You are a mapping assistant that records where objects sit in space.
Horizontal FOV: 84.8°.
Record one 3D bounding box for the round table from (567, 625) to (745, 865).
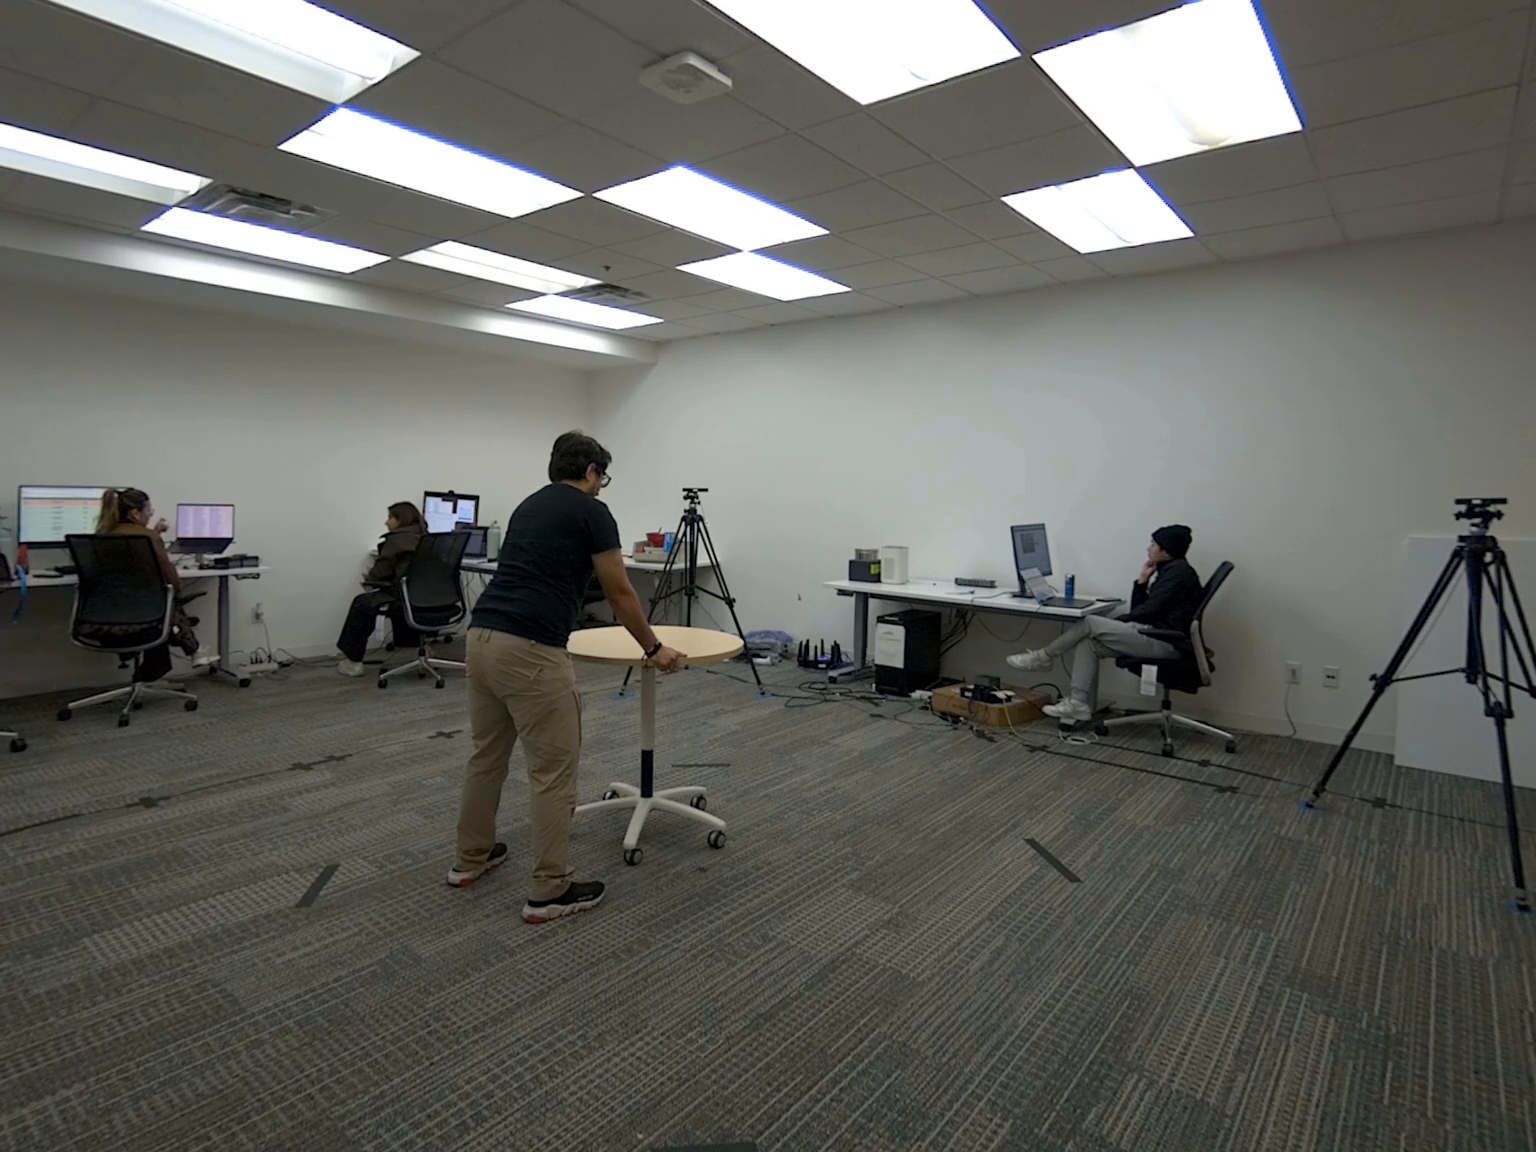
[{"bbox_3d":[-0.499,0.643,3.425,0.784,0.784,0.789,1,4,-2],"label":"round table"}]
